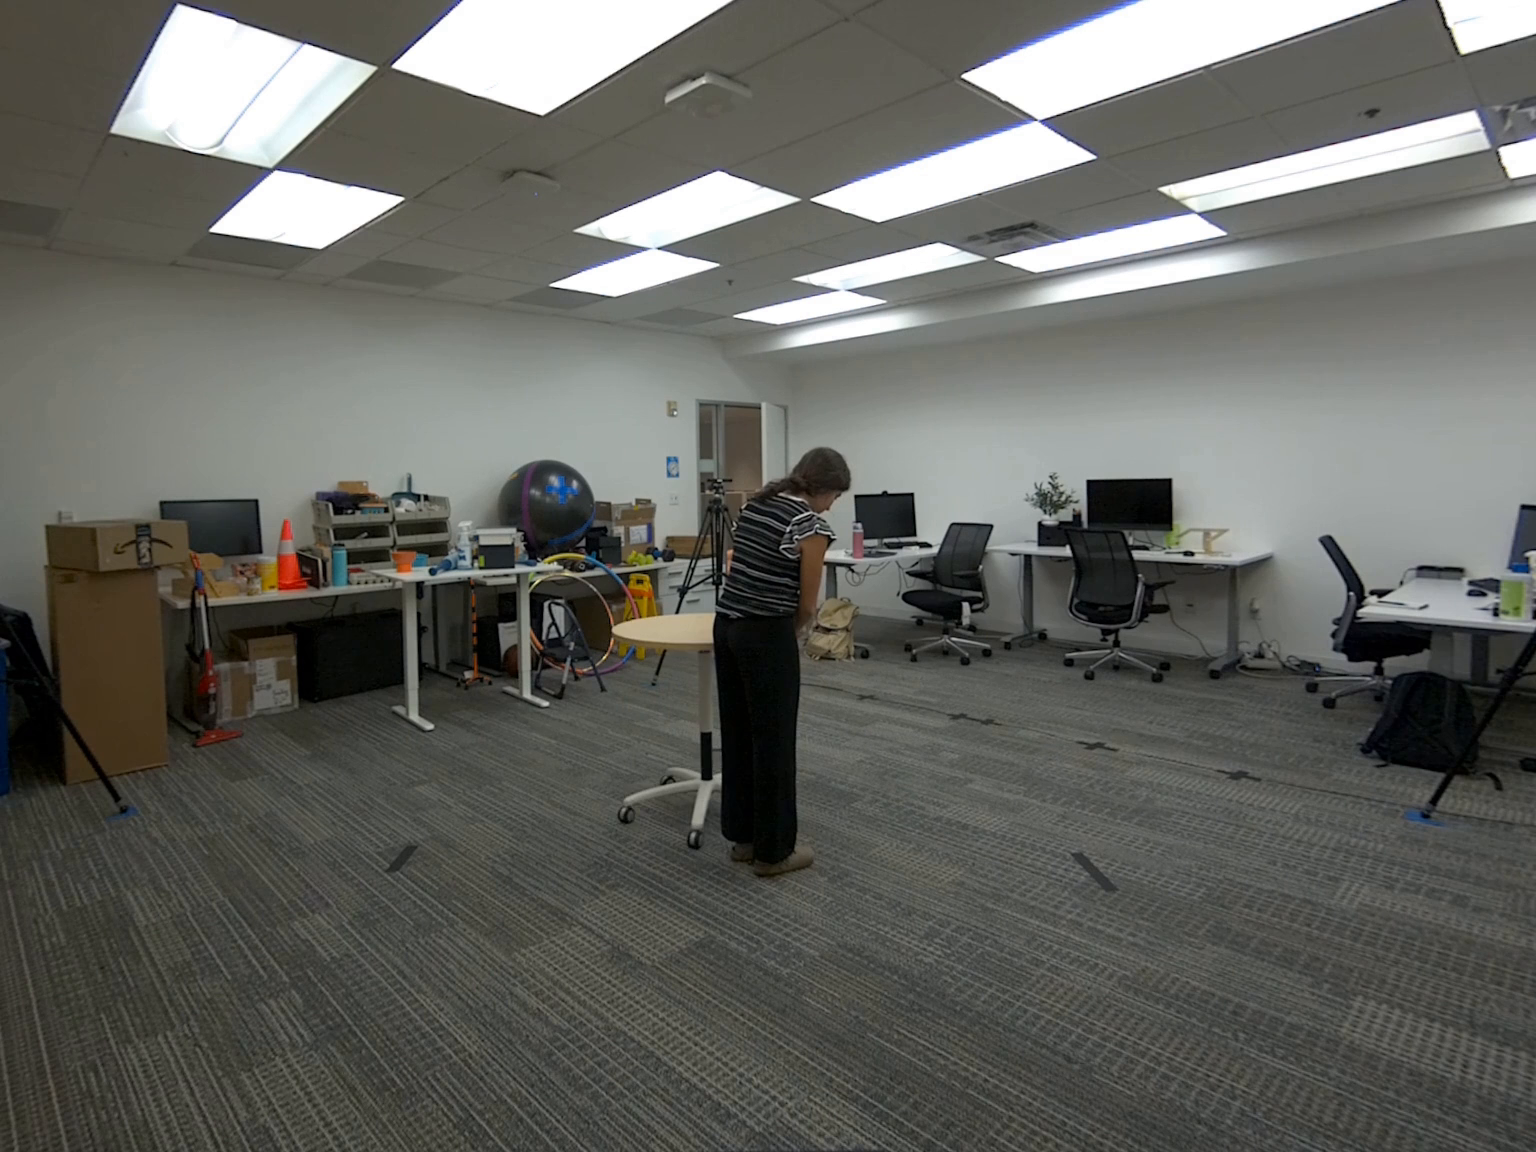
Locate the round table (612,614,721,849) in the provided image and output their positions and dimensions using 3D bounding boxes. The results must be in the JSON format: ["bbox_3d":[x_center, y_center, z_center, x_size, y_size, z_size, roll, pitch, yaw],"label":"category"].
[{"bbox_3d":[-0.250,0.603,3.564,0.784,0.784,0.789,-1,4,-2],"label":"round table"}]
